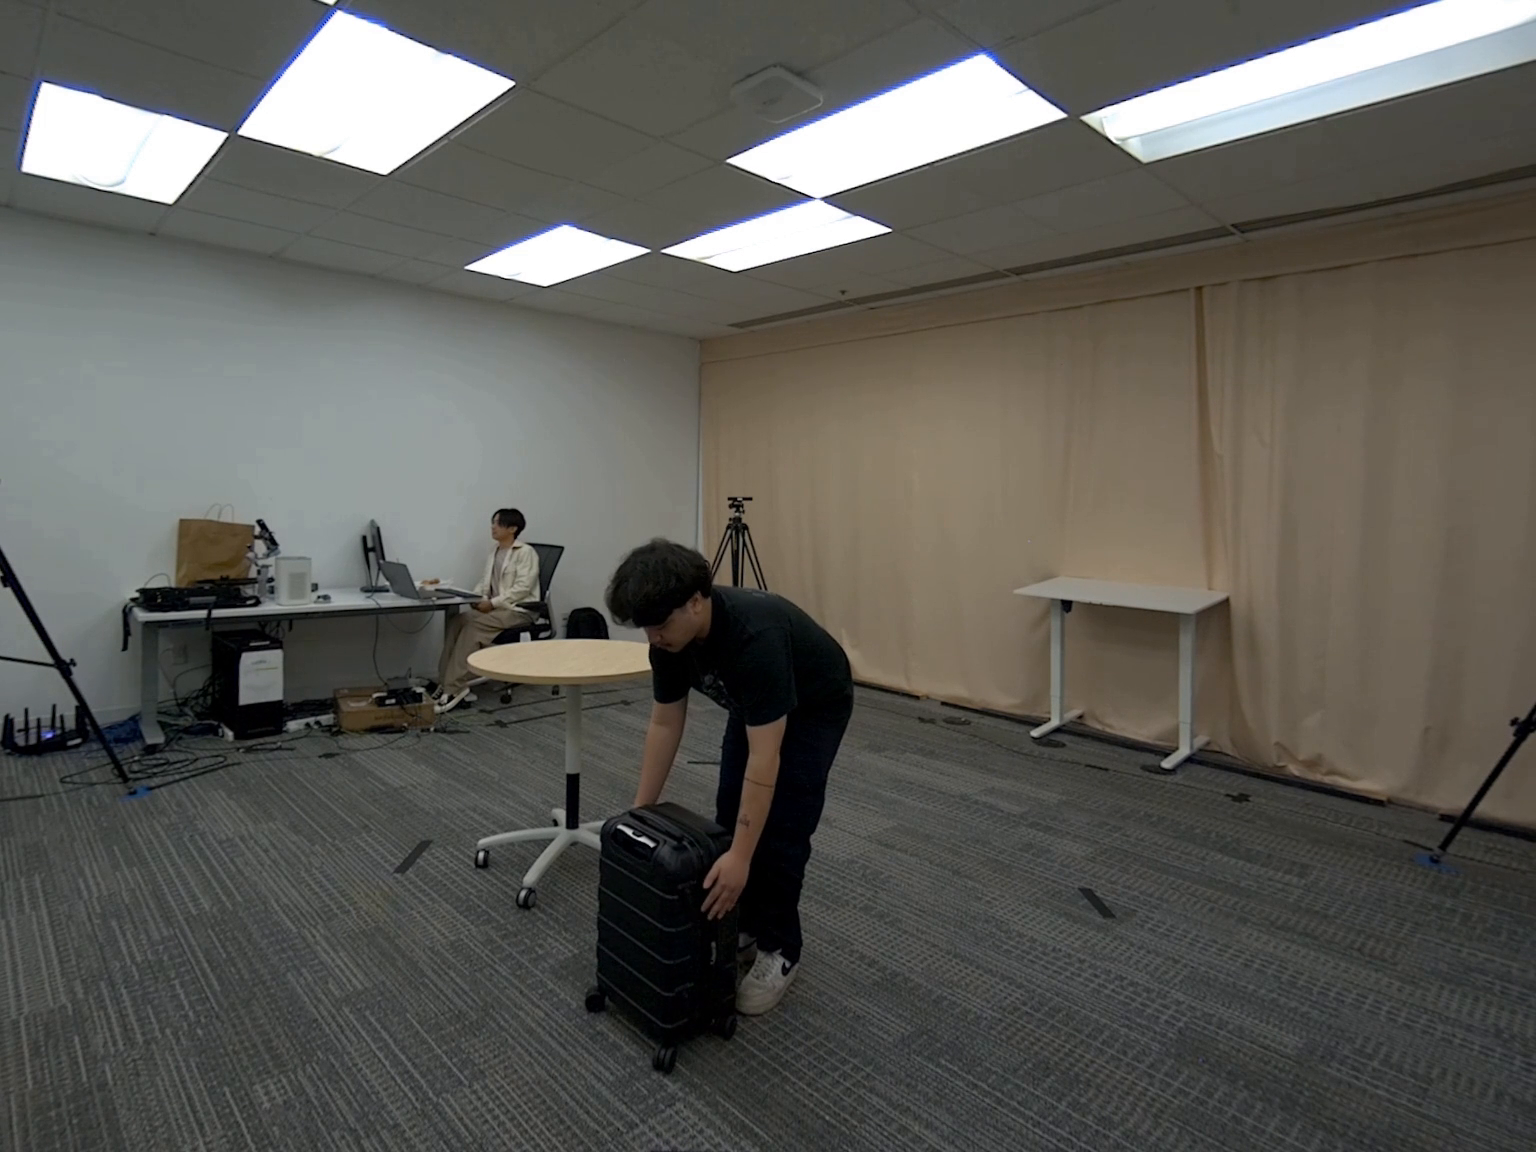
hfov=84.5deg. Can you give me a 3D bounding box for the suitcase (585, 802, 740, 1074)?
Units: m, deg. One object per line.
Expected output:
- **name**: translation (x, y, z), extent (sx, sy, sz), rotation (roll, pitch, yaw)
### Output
- **suitcase**: translation (-0.273, 0.914, 2.219), extent (0.242, 0.548, 0.385), rotation (-1, 5, -43)
